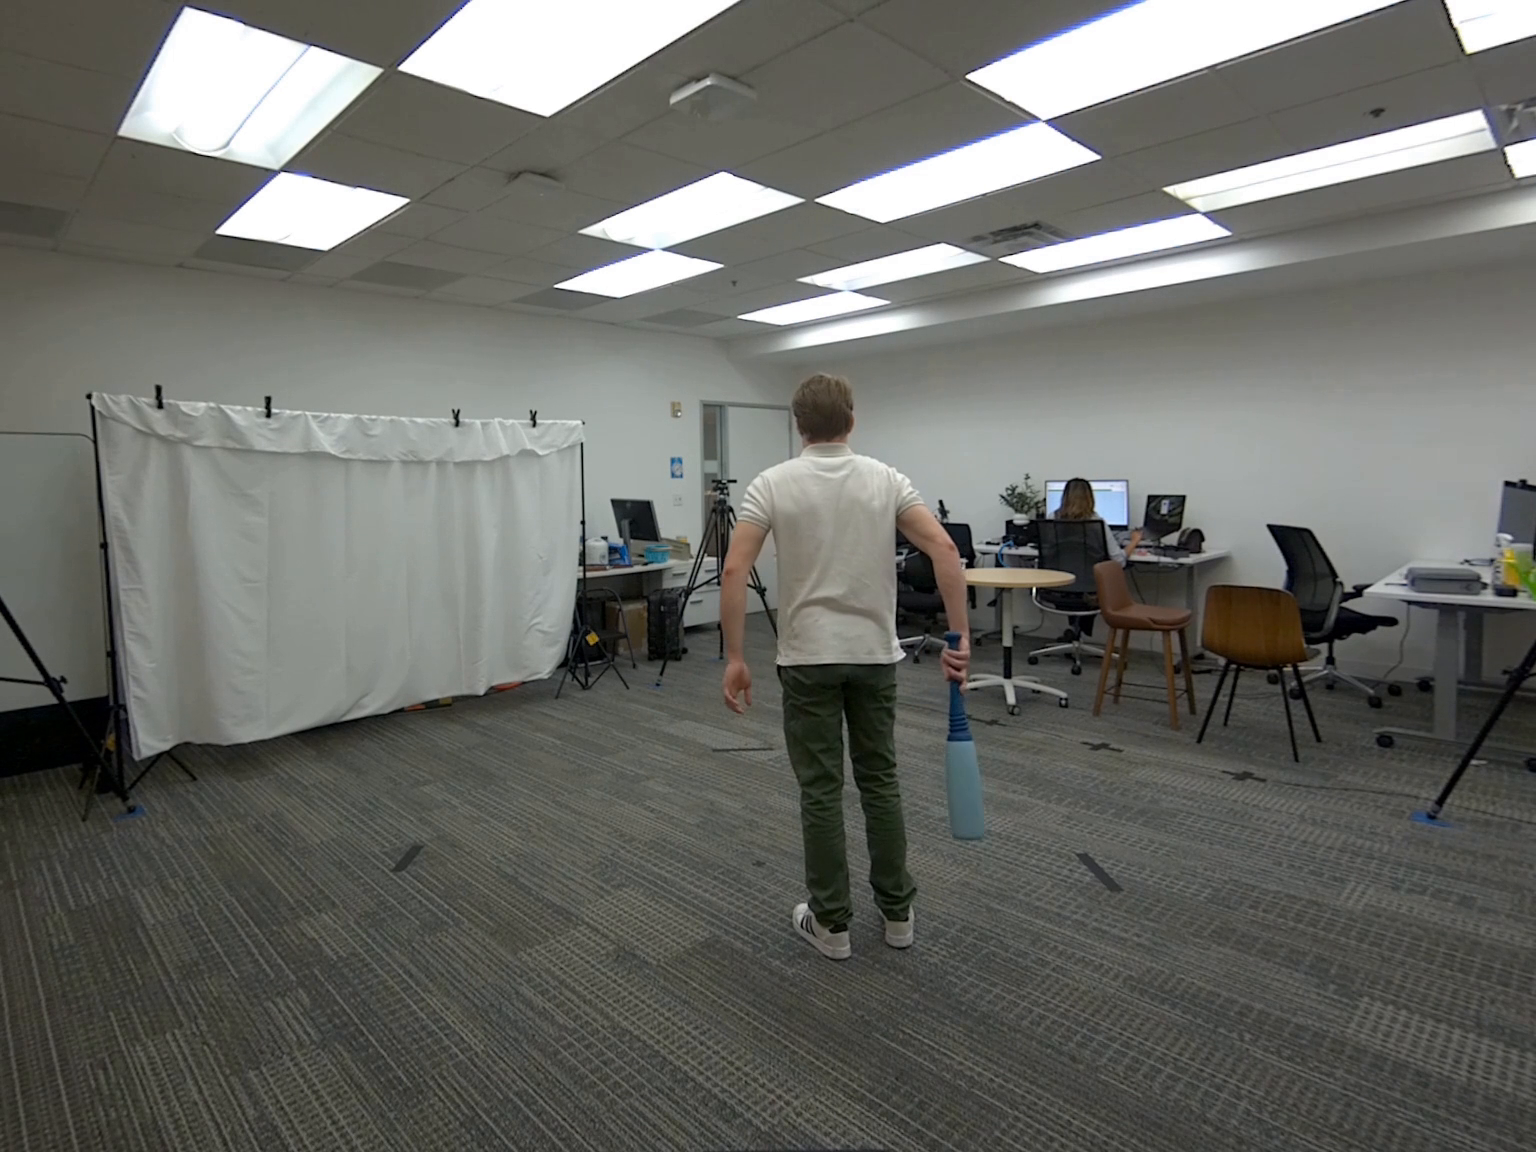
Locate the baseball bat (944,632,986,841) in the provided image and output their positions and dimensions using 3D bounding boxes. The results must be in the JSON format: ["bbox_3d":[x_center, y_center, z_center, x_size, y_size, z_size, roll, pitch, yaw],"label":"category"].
[{"bbox_3d":[0.506,0.424,2.314,0.089,0.549,0.088,-3,-11,-2],"label":"baseball bat"}]
